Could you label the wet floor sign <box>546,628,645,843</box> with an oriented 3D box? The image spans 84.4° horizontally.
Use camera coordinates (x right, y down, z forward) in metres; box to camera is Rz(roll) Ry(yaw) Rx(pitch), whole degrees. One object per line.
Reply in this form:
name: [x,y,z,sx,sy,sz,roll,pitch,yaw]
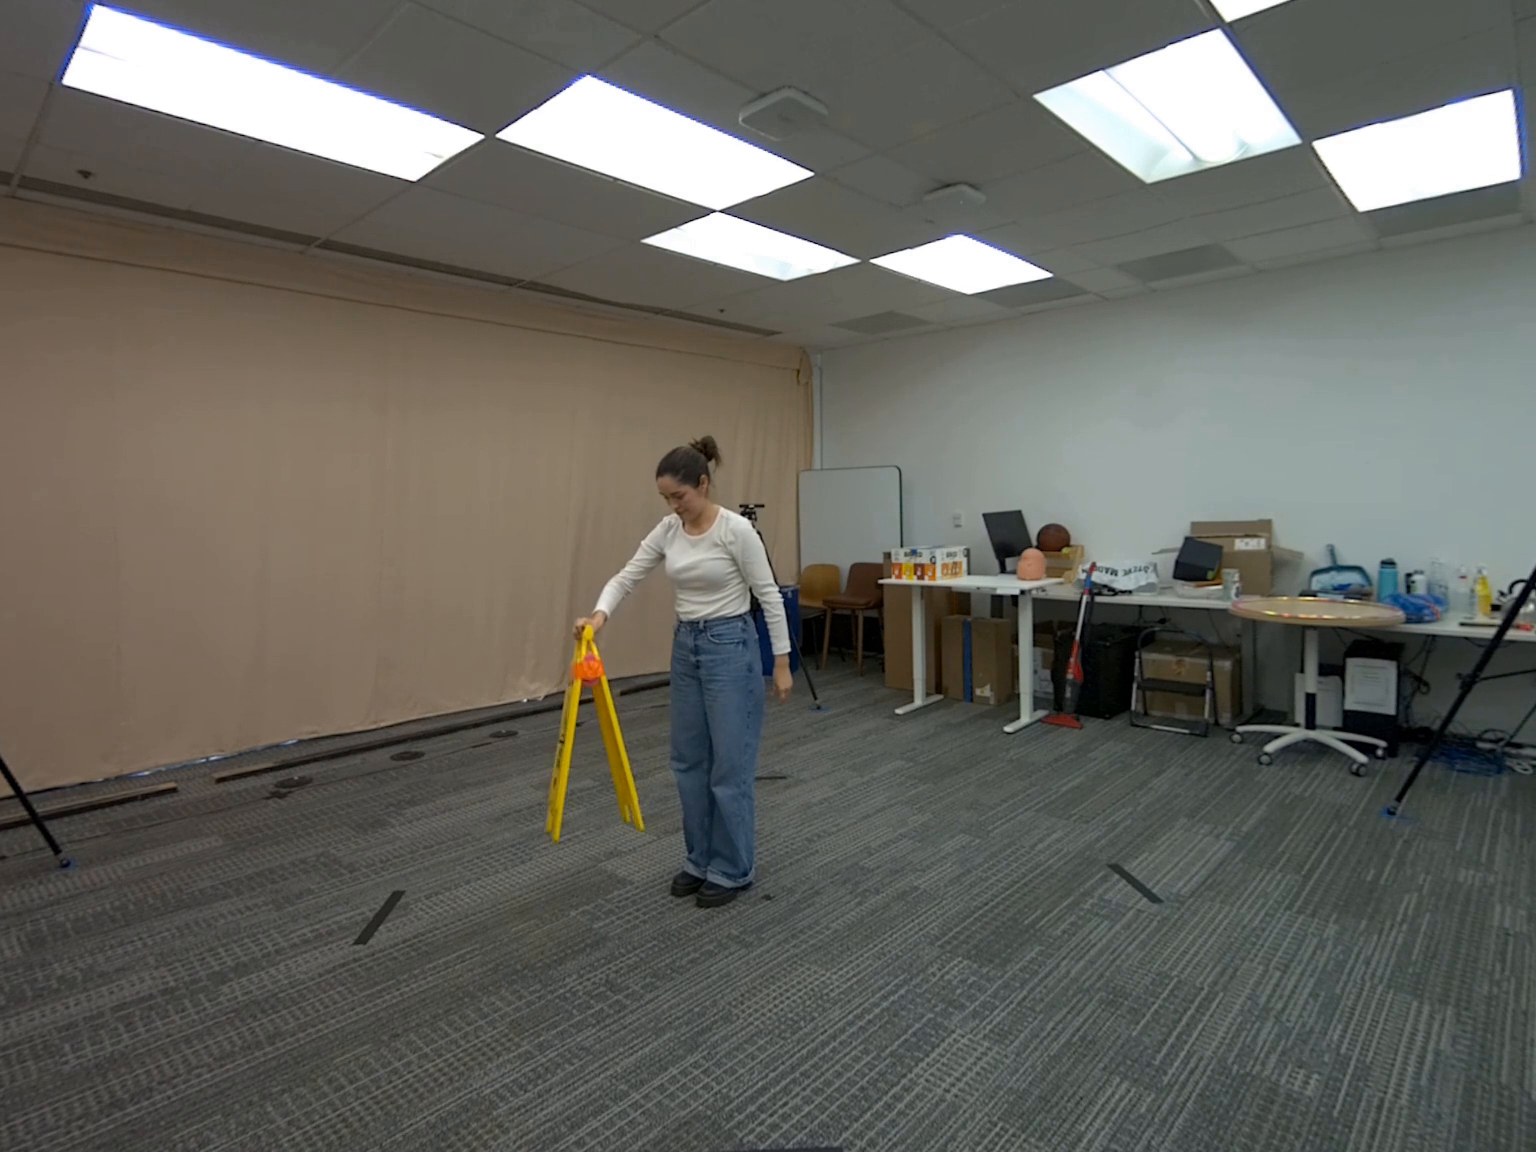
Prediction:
wet floor sign: [-0.579,0.484,2.719,0.284,0.651,0.286,-1,-10,-20]
